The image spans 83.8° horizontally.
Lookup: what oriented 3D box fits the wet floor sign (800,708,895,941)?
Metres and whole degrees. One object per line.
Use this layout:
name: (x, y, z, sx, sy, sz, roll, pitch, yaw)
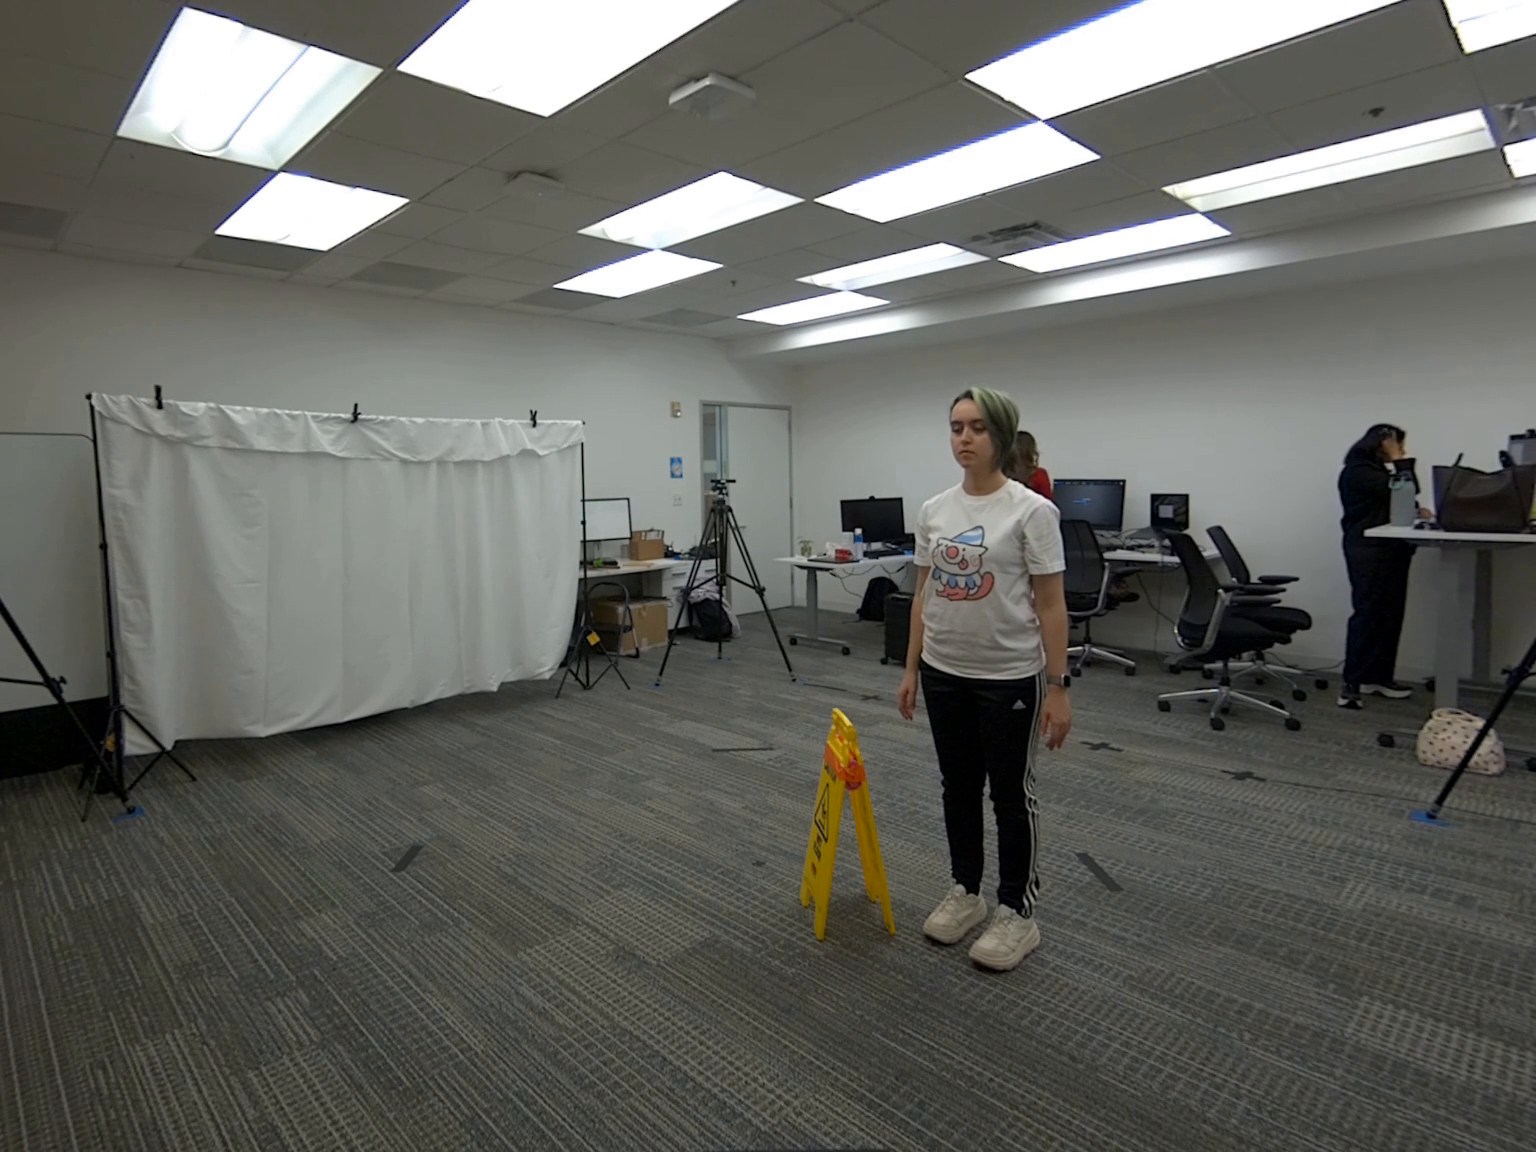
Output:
wet floor sign: (0.245, 0.765, 2.701, 0.288, 0.643, 0.285, -1, 4, -6)
